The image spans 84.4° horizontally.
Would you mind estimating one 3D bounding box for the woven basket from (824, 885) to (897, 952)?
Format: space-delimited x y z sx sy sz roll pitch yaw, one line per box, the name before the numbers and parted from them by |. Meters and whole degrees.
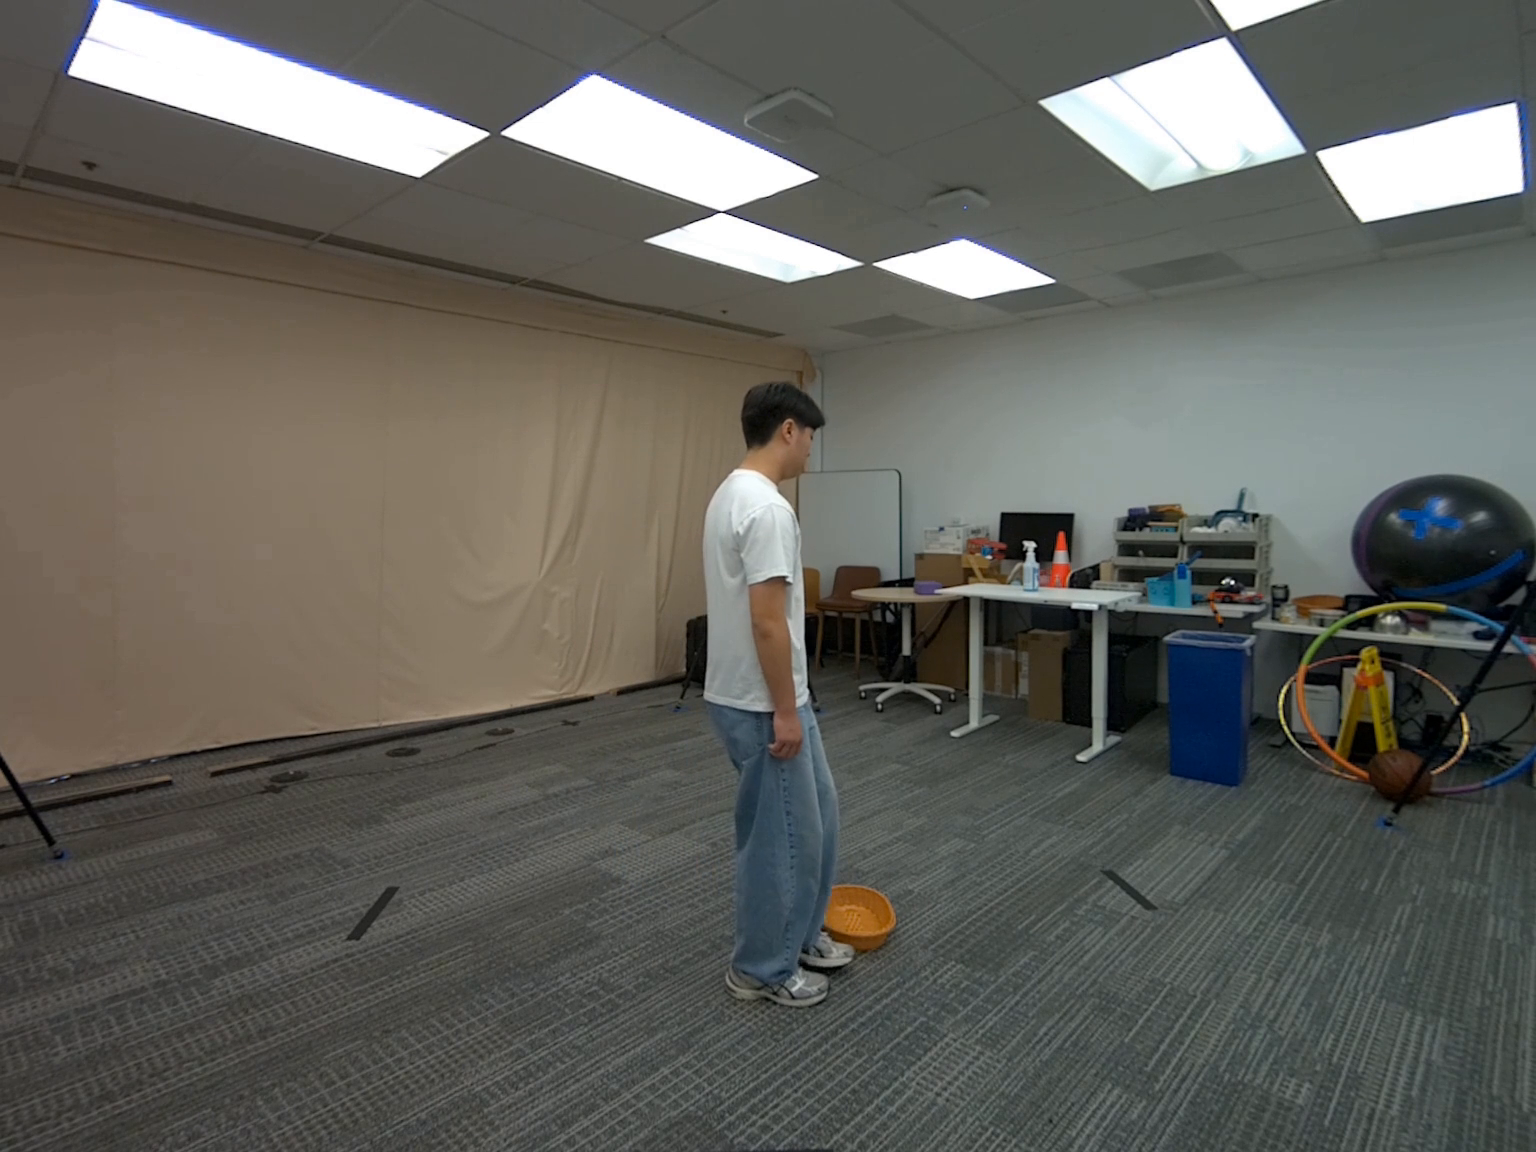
woven basket | 0.285 1.124 2.765 0.253 0.073 0.350 0 5 2
